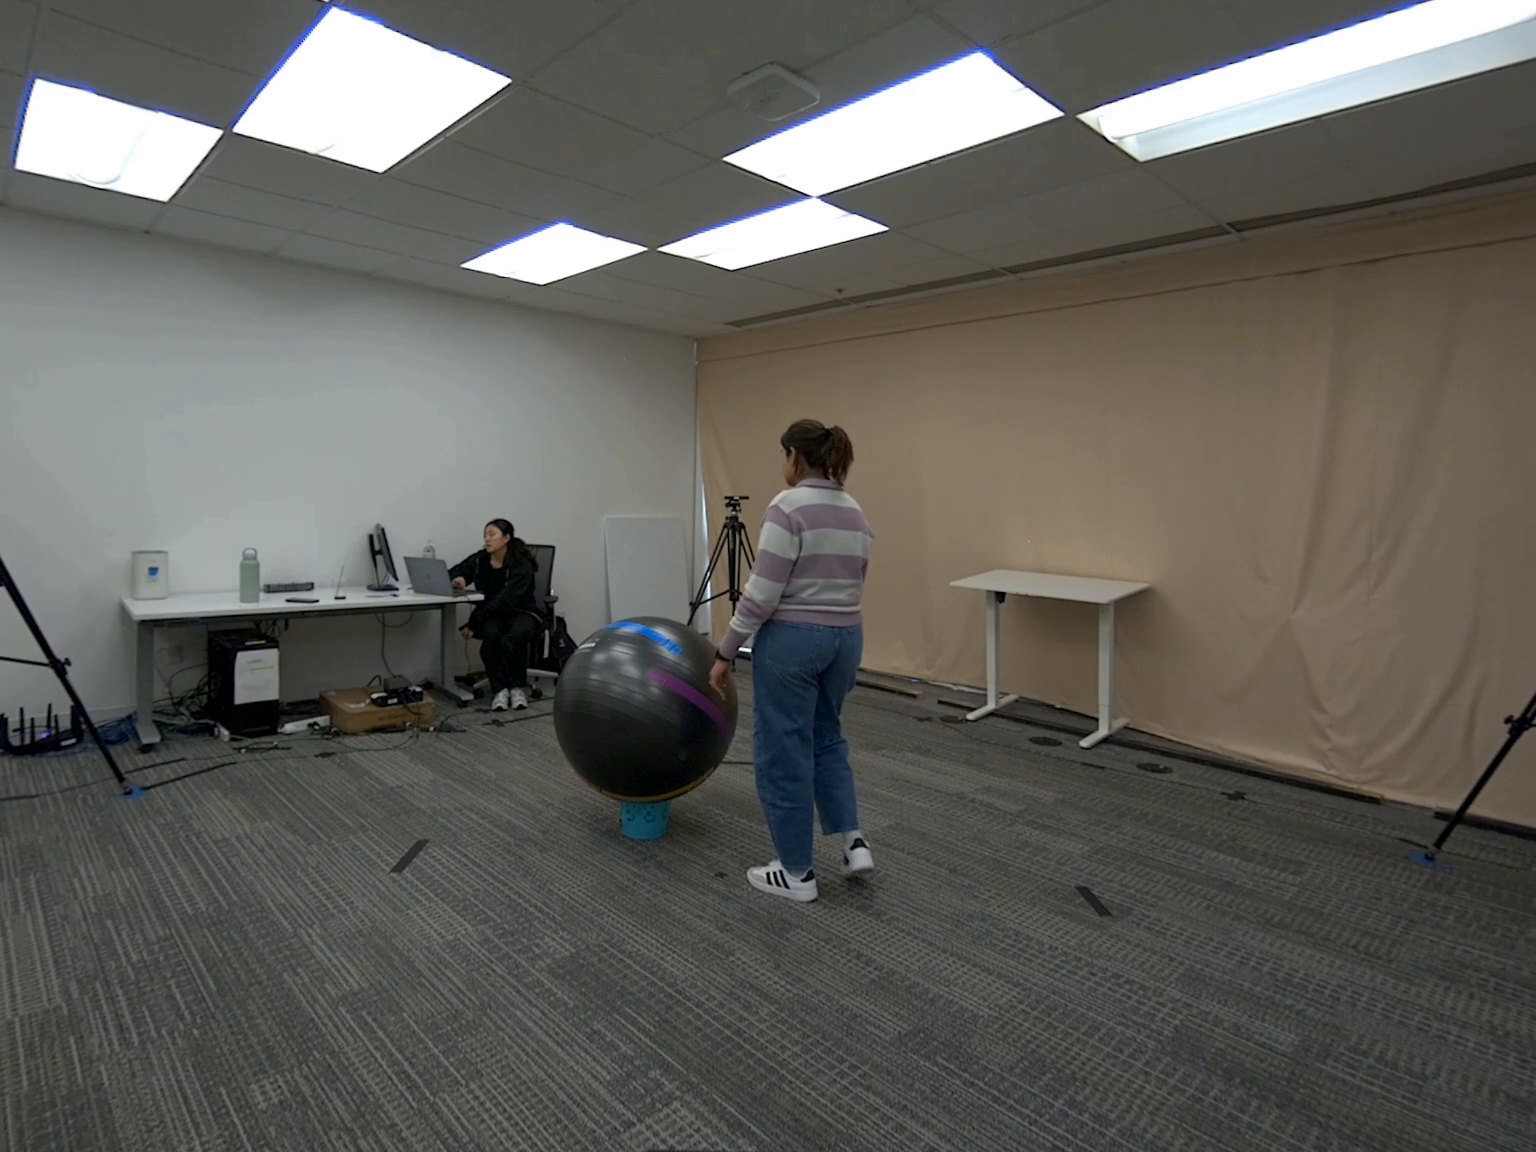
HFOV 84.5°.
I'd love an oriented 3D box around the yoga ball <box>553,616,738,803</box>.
[{"bbox_3d":[-0.514,0.551,3.503,0.757,0.756,0.761,1,4,-1],"label":"yoga ball"}]
